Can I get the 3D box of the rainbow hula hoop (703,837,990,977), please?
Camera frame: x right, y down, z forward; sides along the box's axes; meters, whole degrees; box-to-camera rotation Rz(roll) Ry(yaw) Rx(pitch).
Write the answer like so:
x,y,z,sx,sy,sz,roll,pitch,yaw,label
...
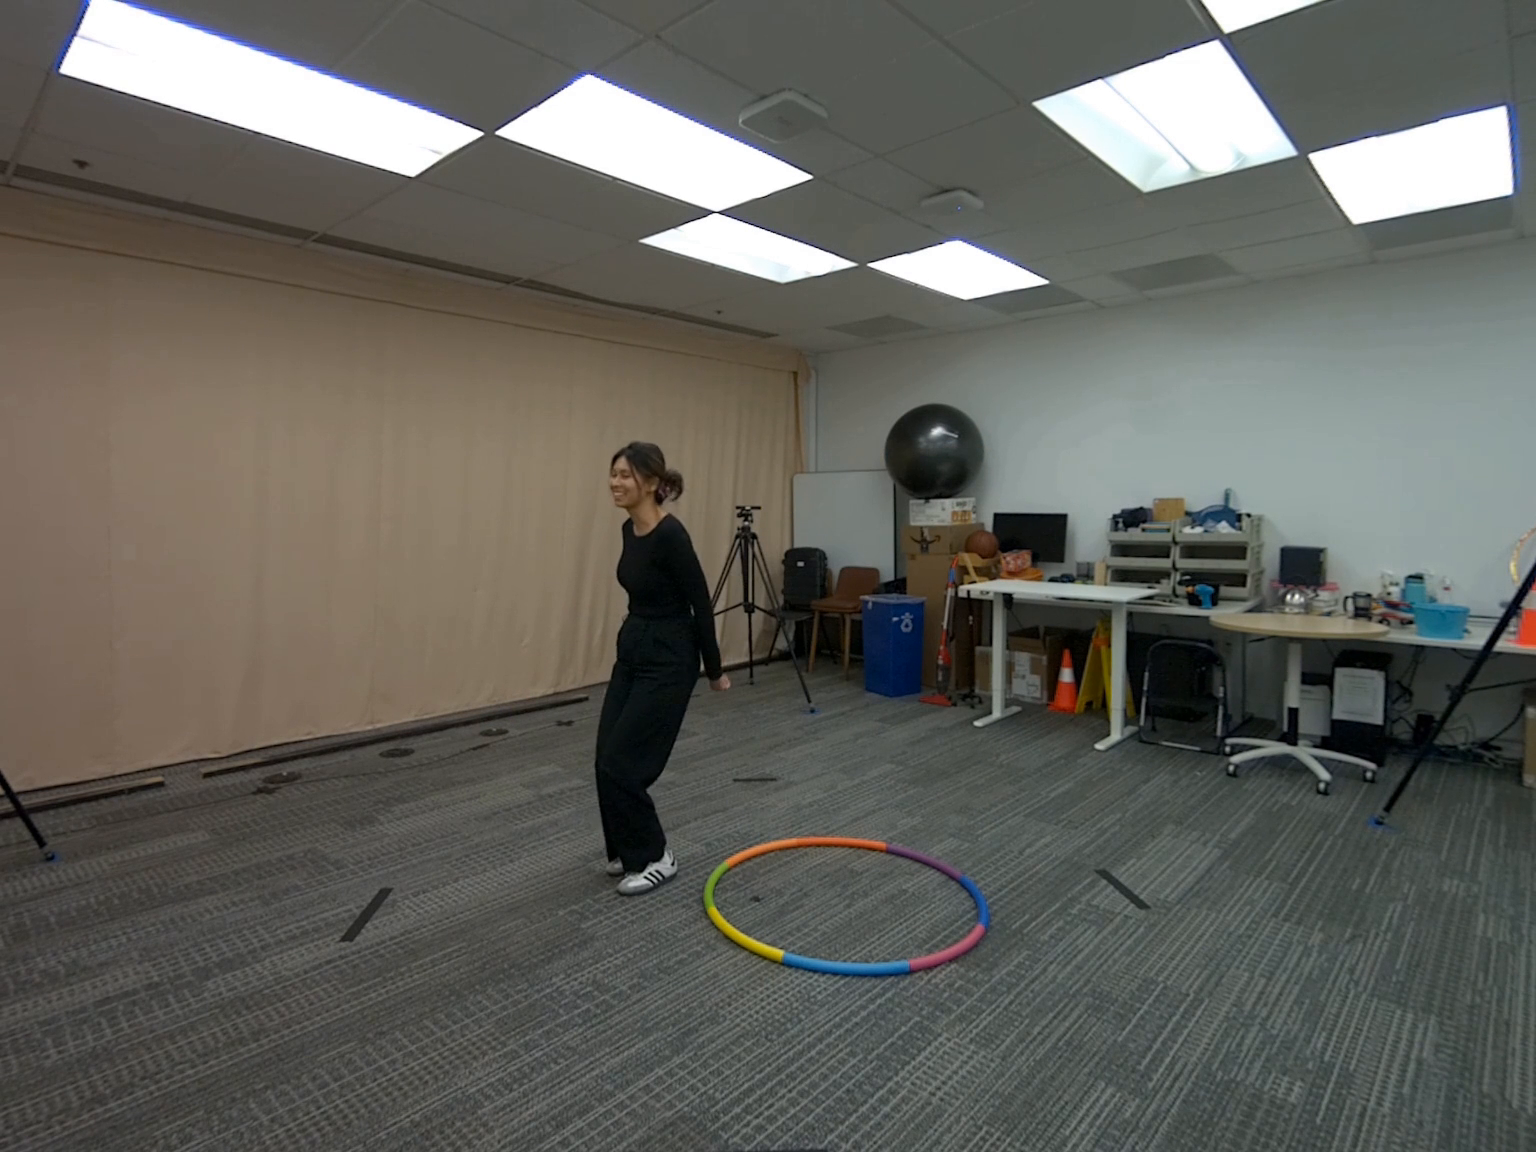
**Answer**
x,y,z,sx,sy,sz,roll,pitch,yaw,label
0.264,1.114,2.972,0.978,0.035,0.982,0,5,-2,rainbow hula hoop
